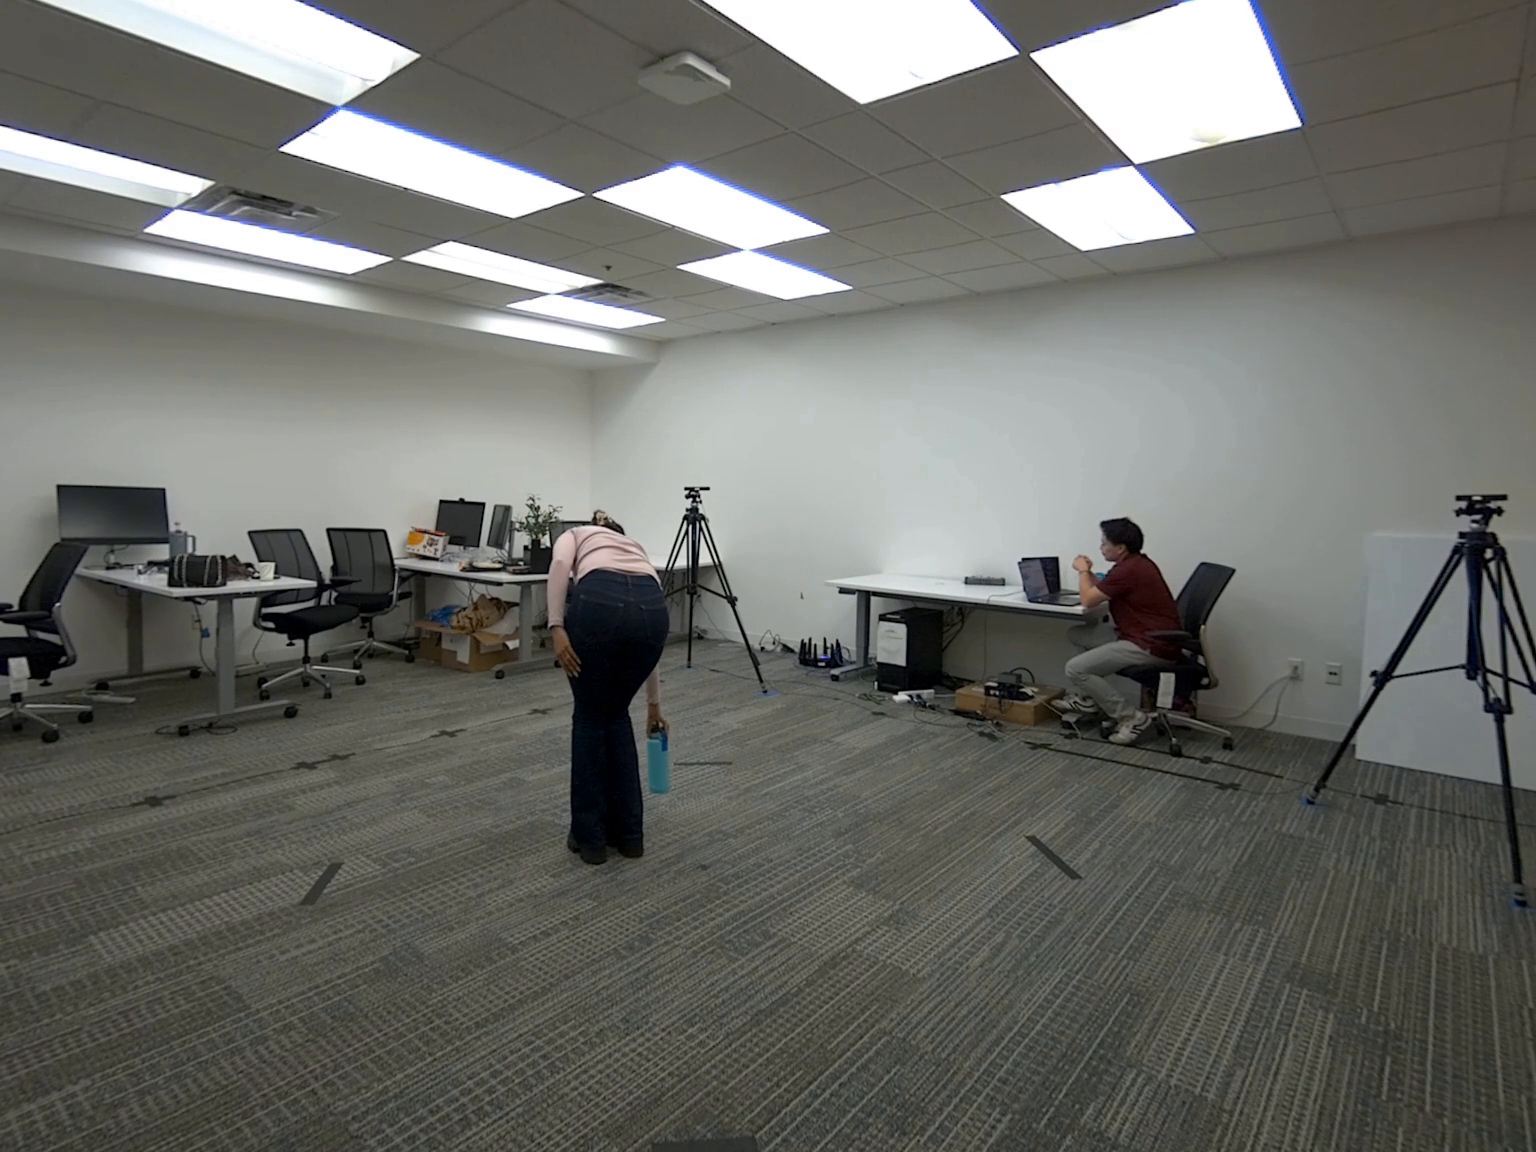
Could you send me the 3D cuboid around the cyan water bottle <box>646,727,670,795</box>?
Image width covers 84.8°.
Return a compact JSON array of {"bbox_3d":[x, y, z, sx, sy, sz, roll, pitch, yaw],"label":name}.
[{"bbox_3d":[-0.484,0.770,3.632,0.092,0.283,0.092,0,0,-2],"label":"cyan water bottle"}]
